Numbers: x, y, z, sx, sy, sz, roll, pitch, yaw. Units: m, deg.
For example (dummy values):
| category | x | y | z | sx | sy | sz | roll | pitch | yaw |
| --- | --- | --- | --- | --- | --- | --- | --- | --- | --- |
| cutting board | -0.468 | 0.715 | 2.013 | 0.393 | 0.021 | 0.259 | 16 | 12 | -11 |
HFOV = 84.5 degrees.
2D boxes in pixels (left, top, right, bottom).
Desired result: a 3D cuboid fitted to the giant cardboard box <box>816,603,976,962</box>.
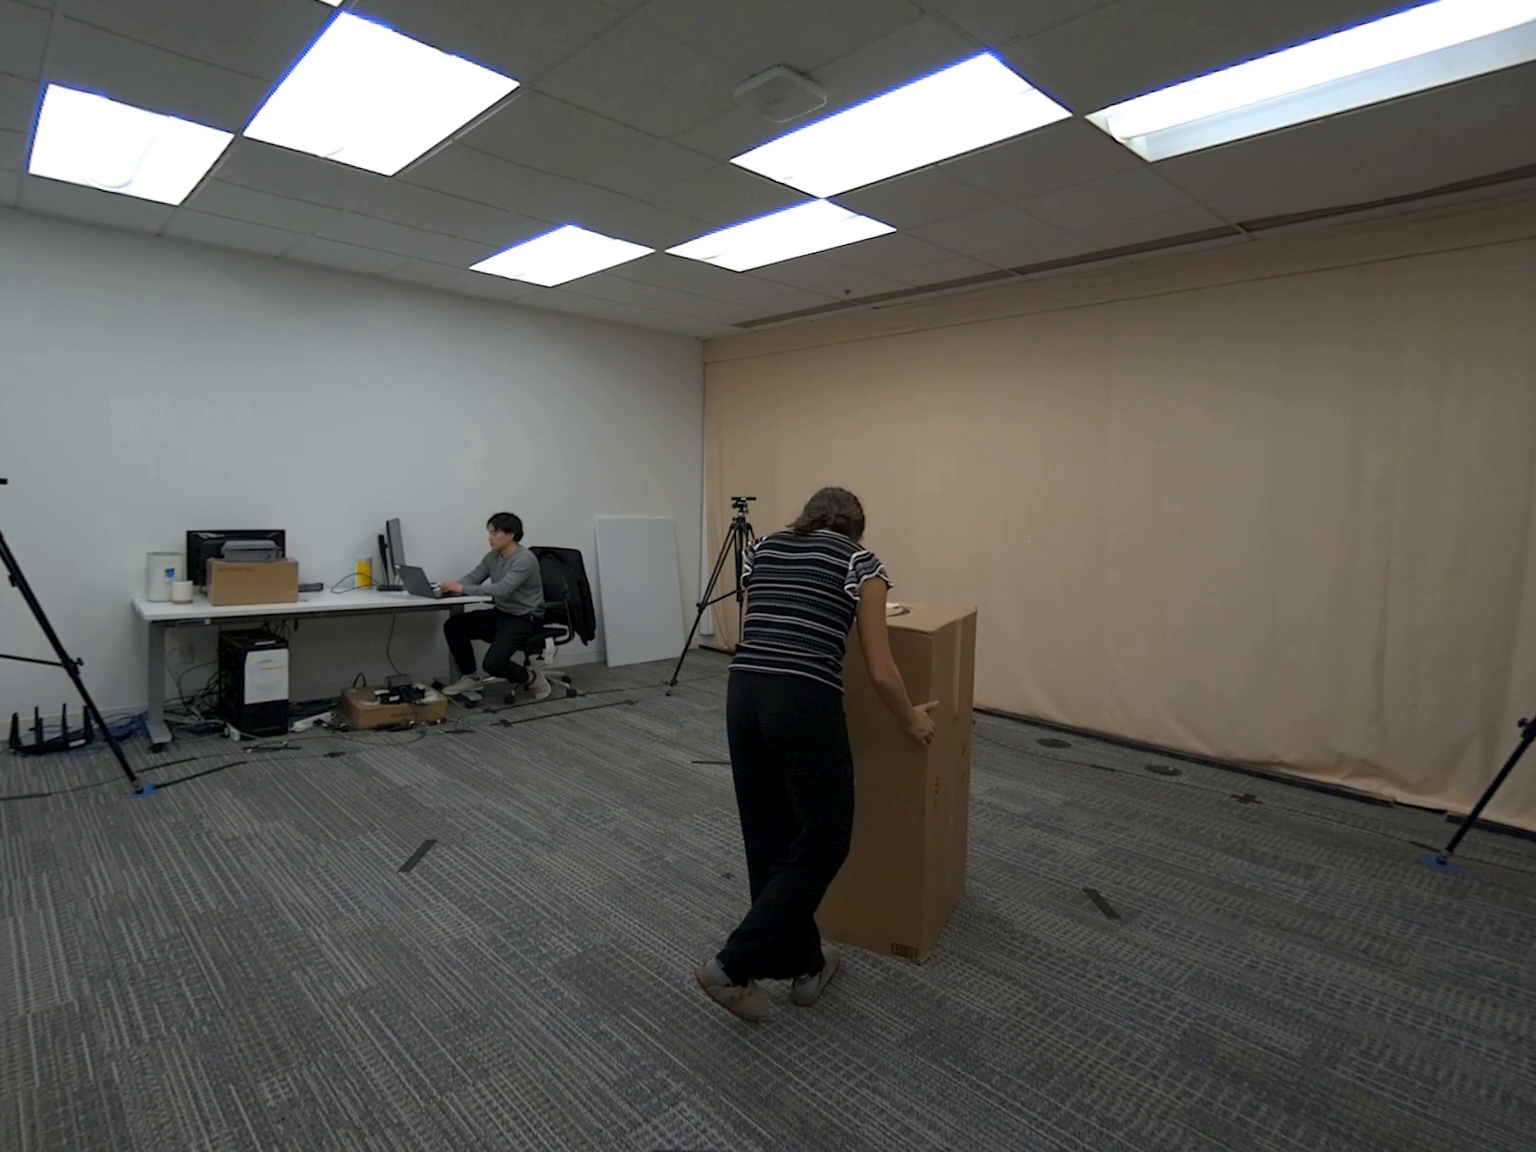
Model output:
| category | x | y | z | sx | sy | sz | roll | pitch | yaw |
| --- | --- | --- | --- | --- | --- | --- | --- | --- | --- |
| giant cardboard box | 0.409 | 0.632 | 2.849 | 0.435 | 1.023 | 0.567 | 4 | 4 | 27 |
